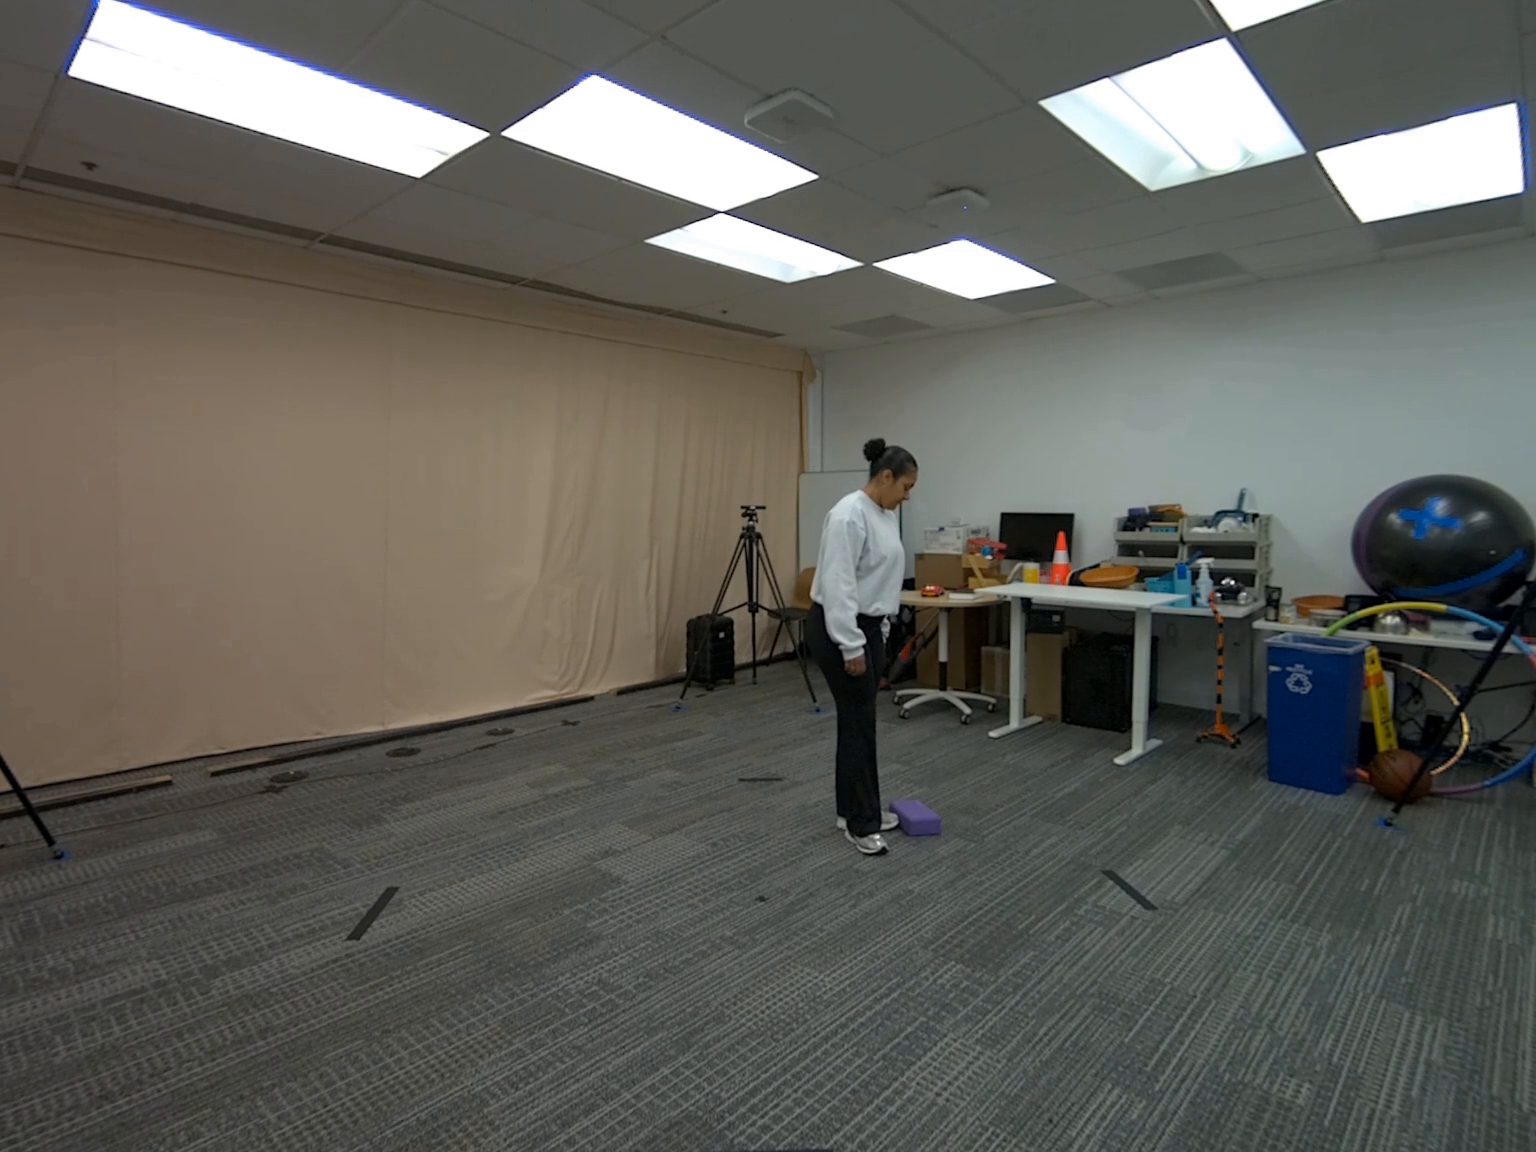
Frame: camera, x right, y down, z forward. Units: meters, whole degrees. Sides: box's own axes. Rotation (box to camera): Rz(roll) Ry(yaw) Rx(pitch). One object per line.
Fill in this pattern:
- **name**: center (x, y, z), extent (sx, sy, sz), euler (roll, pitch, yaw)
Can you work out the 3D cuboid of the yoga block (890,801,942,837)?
- **yoga block**: center (0.639, 1.050, 3.653), extent (0.147, 0.076, 0.233), euler (-1, 5, -14)
